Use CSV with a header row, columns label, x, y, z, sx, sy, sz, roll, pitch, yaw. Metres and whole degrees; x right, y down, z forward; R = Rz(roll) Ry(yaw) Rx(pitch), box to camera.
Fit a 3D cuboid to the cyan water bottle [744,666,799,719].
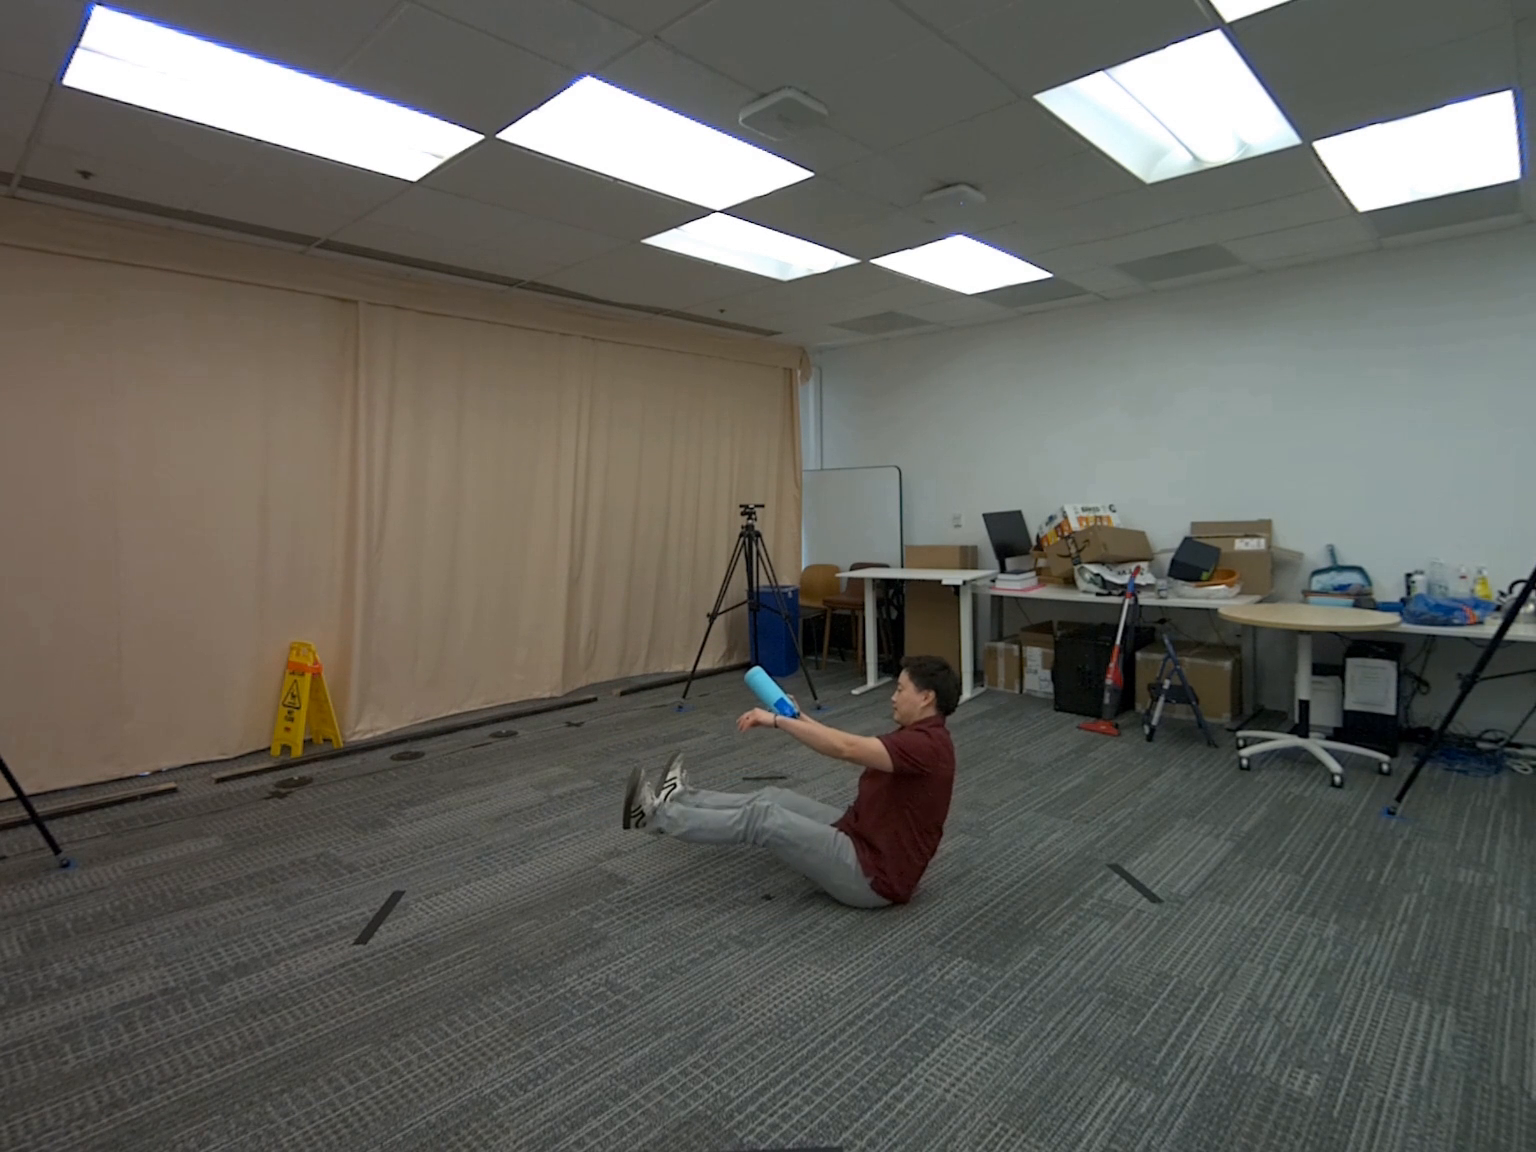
label,x,y,z,sx,sy,sz,roll,pitch,yaw
cyan water bottle,0.023,0.487,3.338,0.089,0.092,0.293,-4,41,-44
